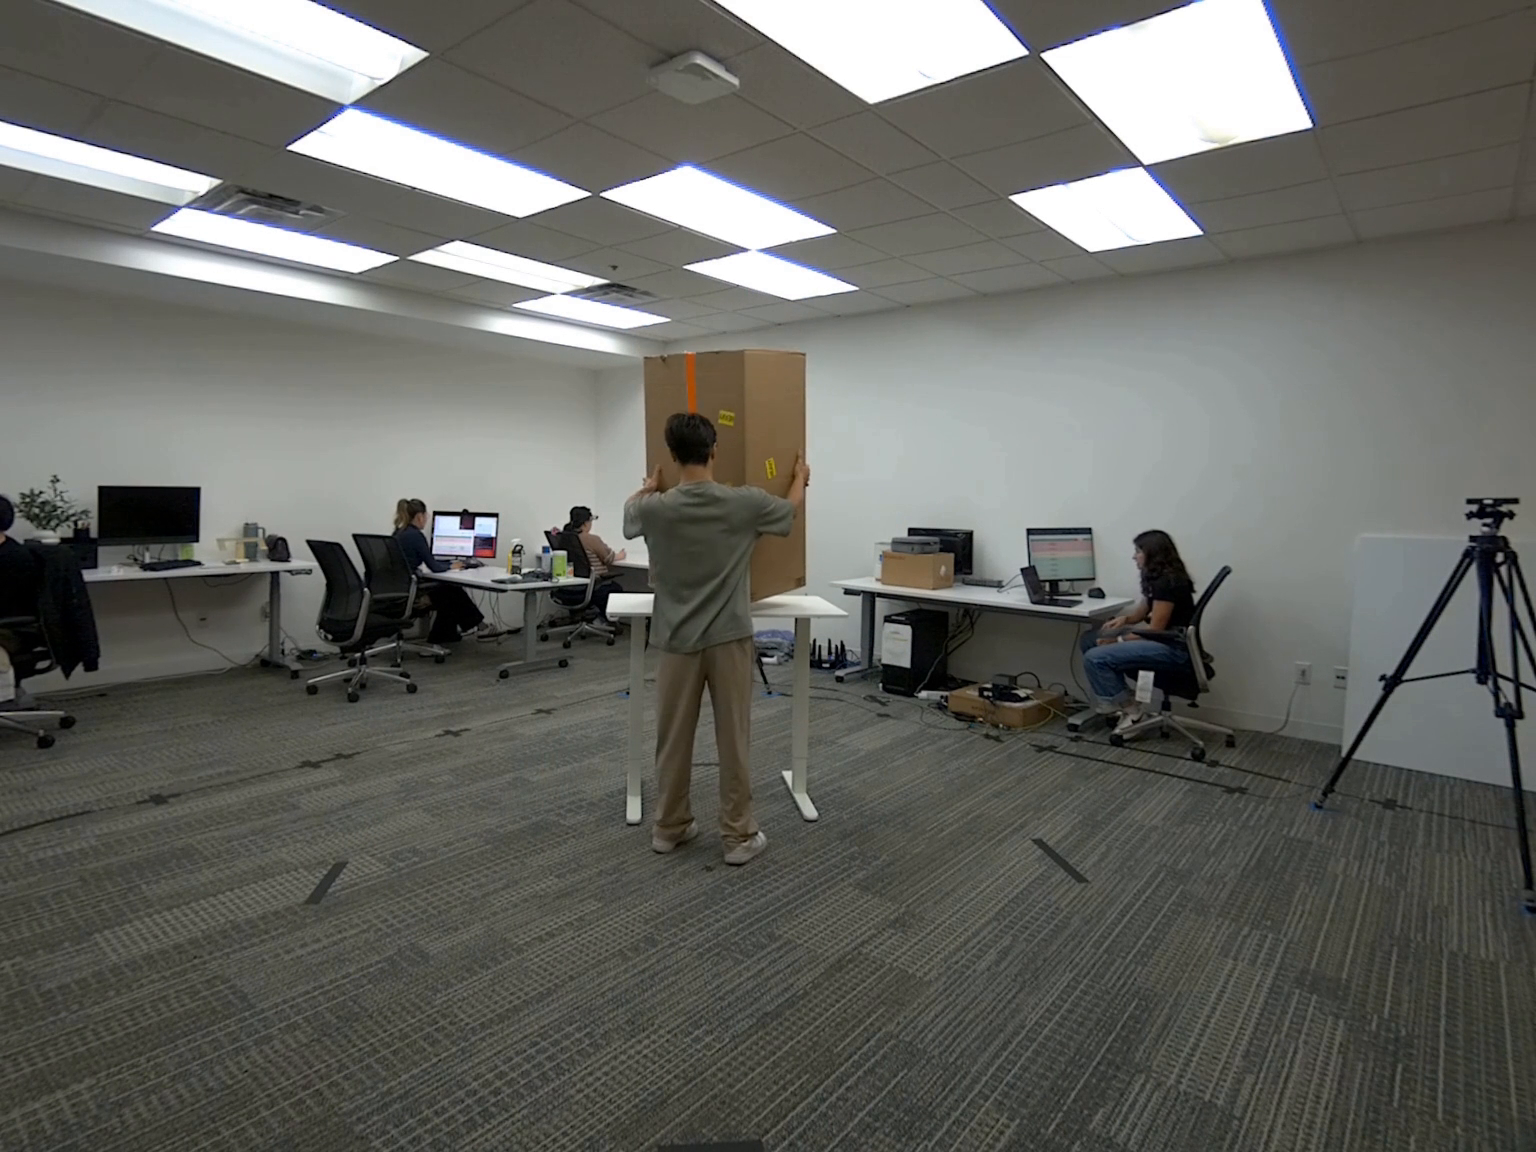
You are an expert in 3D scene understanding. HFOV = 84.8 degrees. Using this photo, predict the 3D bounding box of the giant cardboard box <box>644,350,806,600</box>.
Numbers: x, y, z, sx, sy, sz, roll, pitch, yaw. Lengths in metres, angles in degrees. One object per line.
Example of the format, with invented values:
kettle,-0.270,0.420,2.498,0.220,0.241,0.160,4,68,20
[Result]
giant cardboard box,-0.200,-0.453,3.719,0.598,1.017,0.415,7,12,39
